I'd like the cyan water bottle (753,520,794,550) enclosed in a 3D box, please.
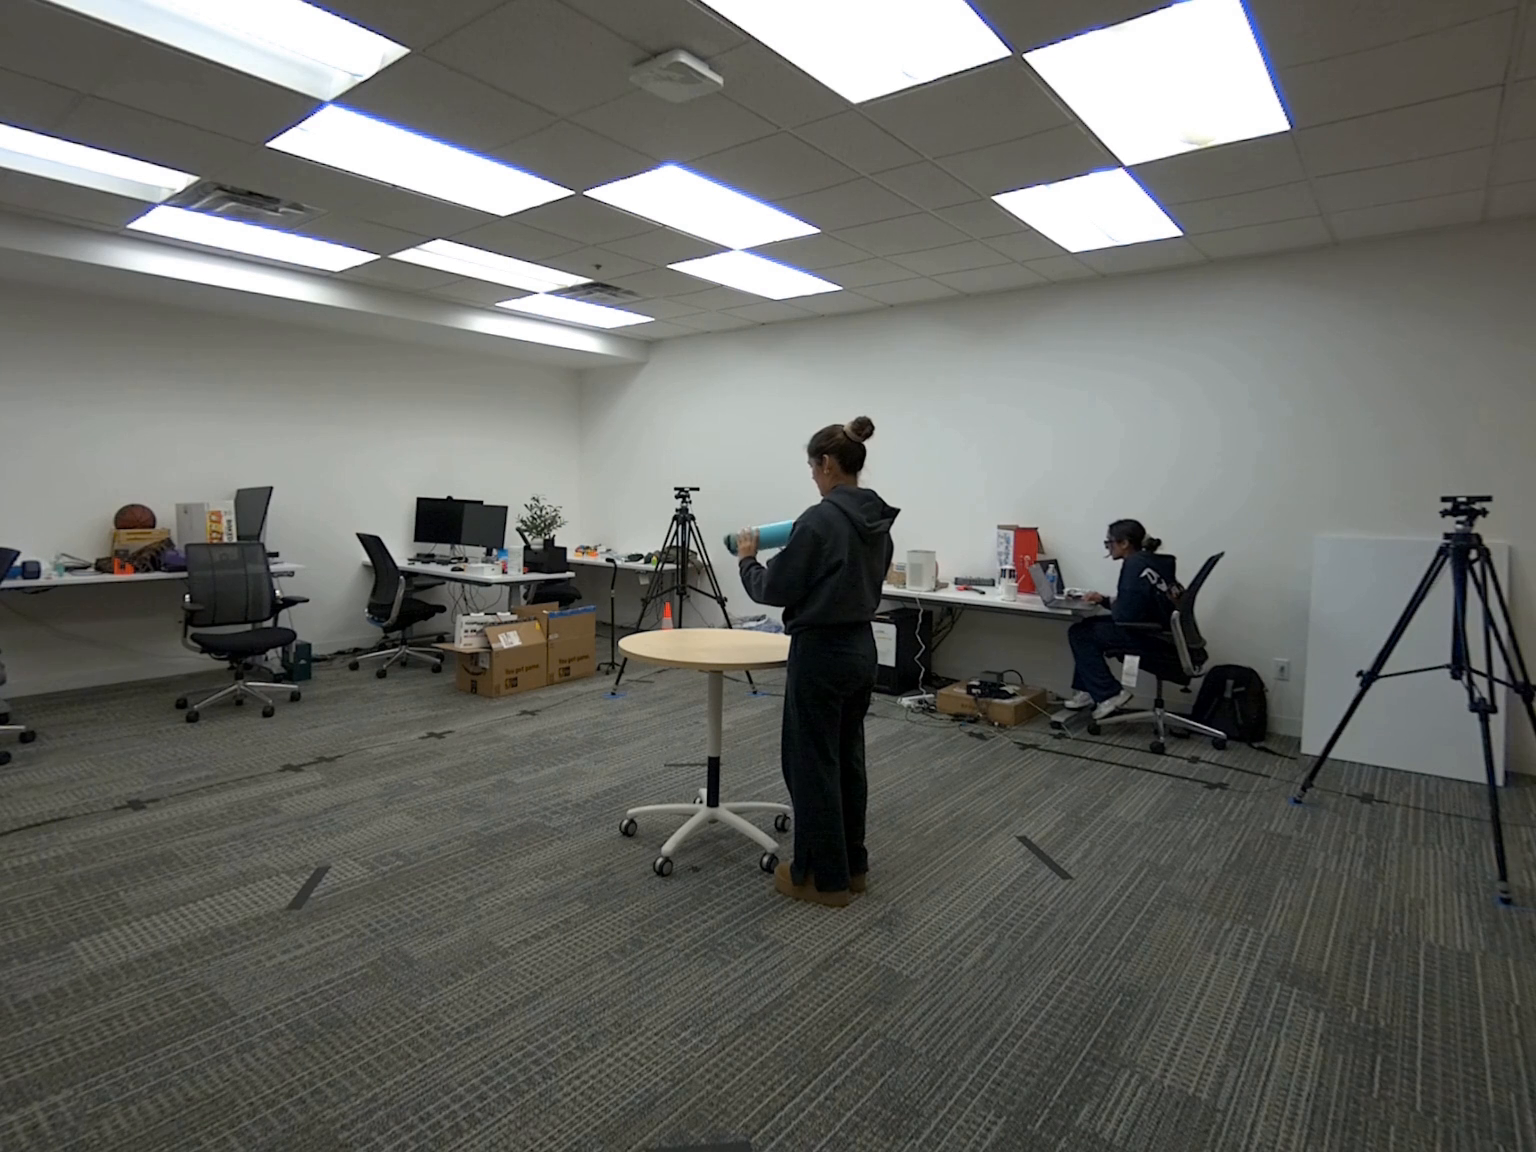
[{"bbox_3d":[-0.007,-0.133,3.085,0.287,0.092,0.091,-11,1,14],"label":"cyan water bottle"}]
